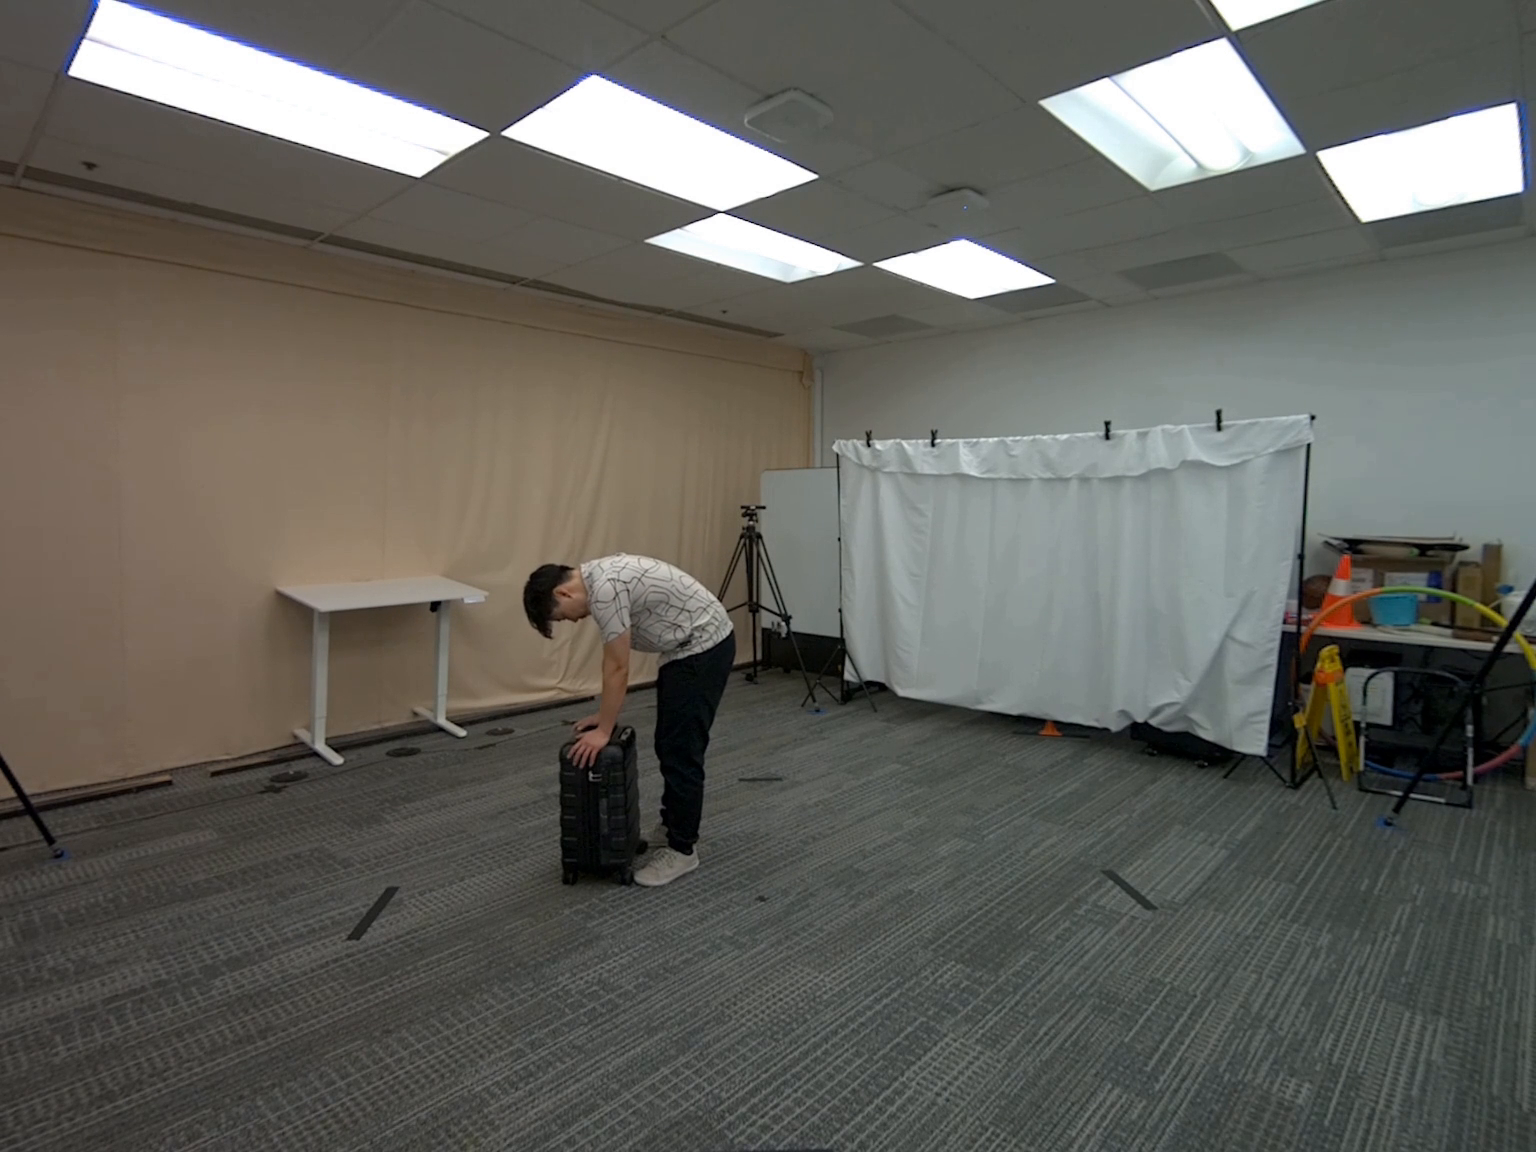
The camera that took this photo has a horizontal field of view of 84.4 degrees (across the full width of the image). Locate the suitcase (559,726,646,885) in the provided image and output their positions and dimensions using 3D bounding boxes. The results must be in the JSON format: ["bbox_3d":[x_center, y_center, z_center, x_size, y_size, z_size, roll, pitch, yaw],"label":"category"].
[{"bbox_3d":[-0.644,0.857,3.223,0.249,0.548,0.375,-3,4,1],"label":"suitcase"}]
